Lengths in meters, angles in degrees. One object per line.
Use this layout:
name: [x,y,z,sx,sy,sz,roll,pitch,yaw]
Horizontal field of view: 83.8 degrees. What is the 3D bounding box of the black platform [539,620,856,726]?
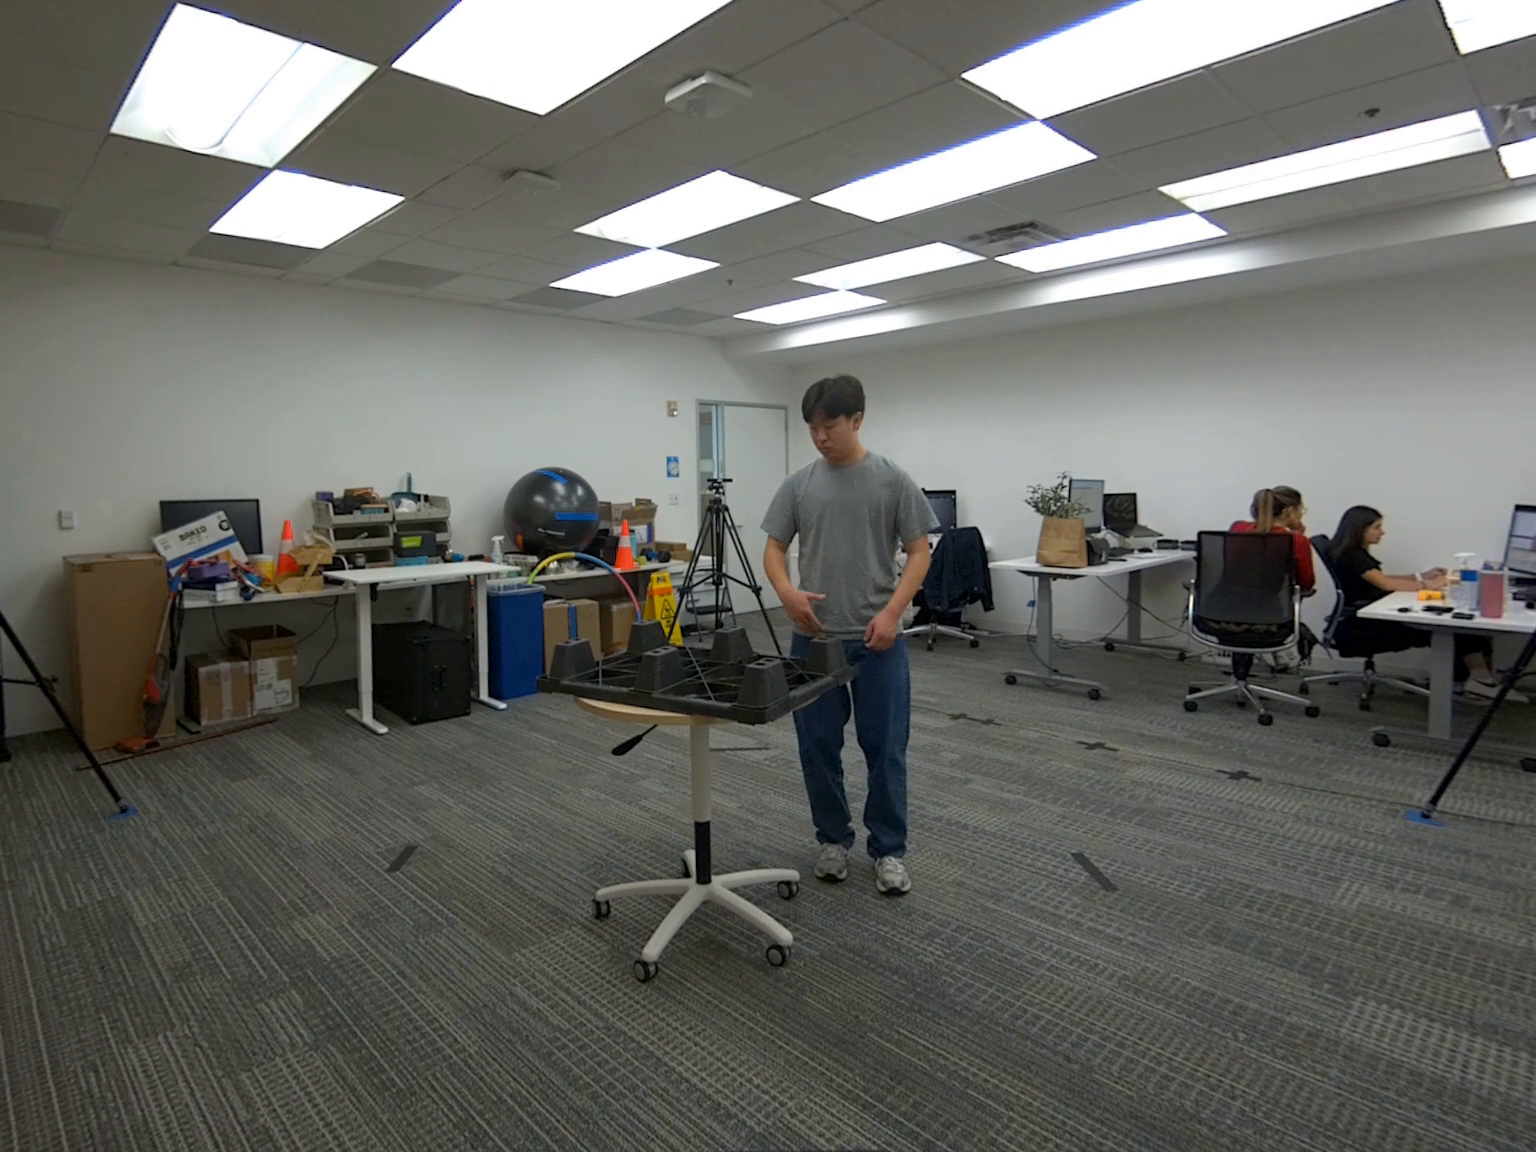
black platform: [-0.202,0.262,2.591,0.827,0.142,0.592,2,9,31]
